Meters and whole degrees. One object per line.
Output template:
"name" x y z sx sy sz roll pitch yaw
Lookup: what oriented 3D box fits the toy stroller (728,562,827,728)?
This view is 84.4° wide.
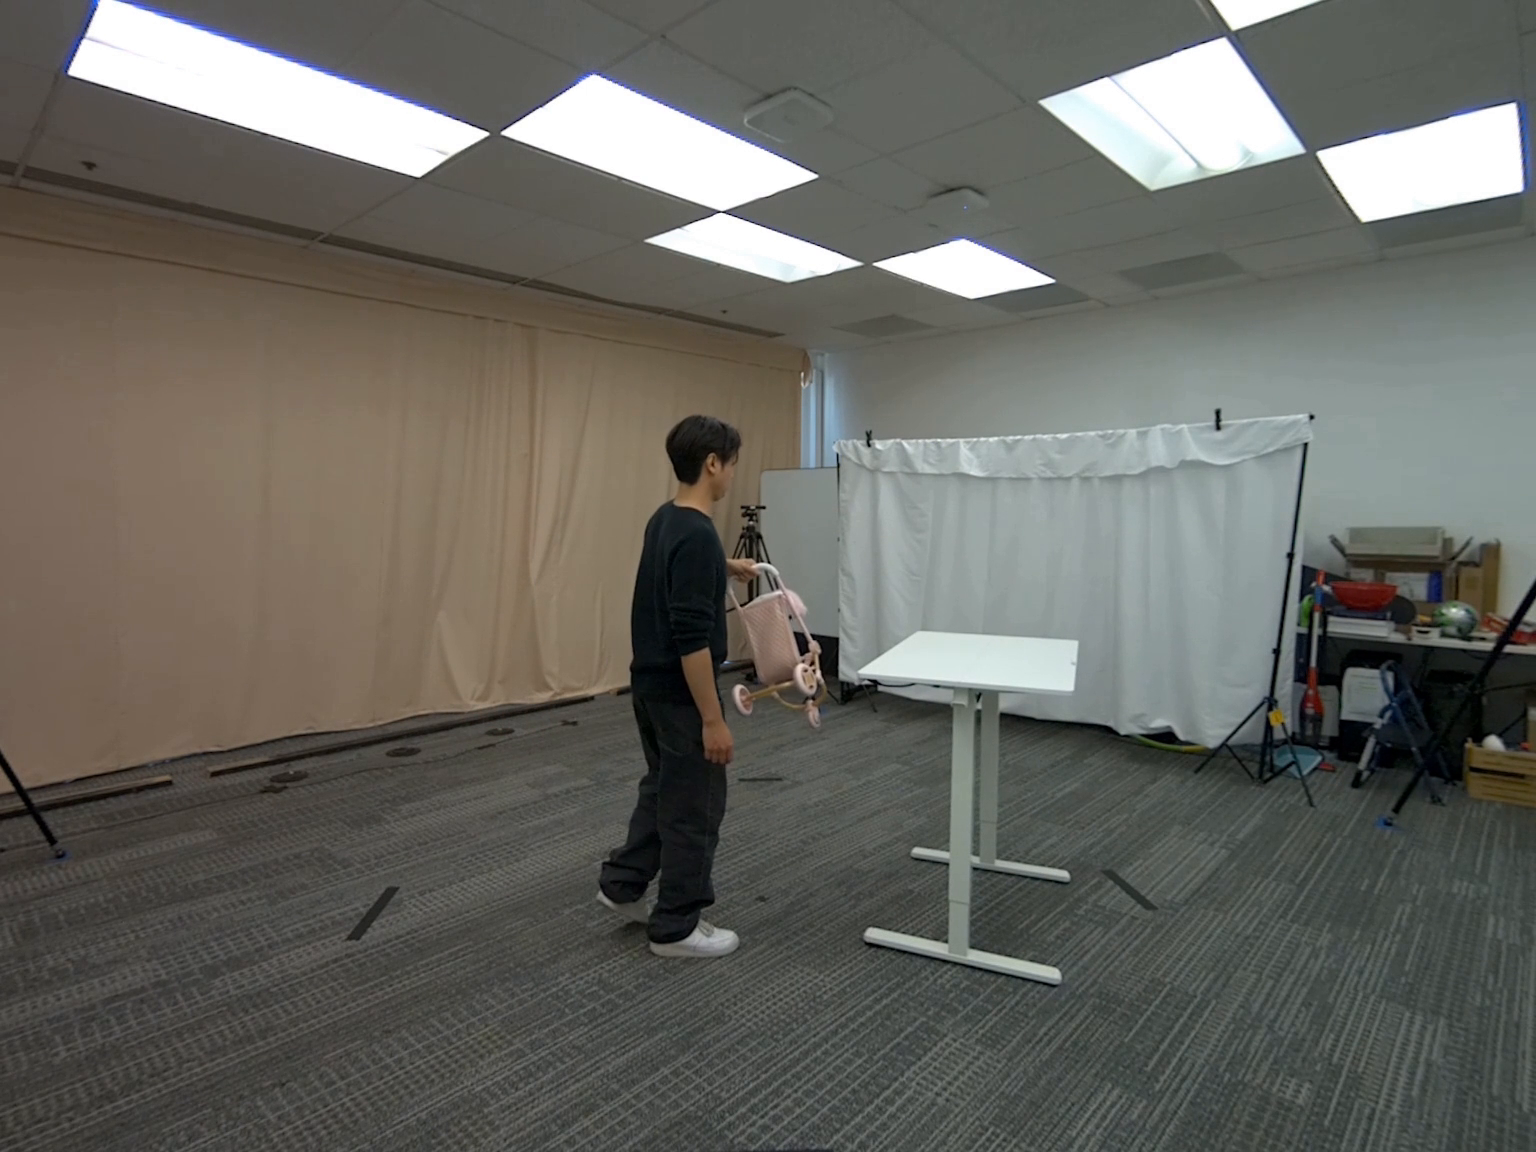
"toy stroller" 0.052 0.261 2.956 0.286 0.544 0.329 -25 -26 30
